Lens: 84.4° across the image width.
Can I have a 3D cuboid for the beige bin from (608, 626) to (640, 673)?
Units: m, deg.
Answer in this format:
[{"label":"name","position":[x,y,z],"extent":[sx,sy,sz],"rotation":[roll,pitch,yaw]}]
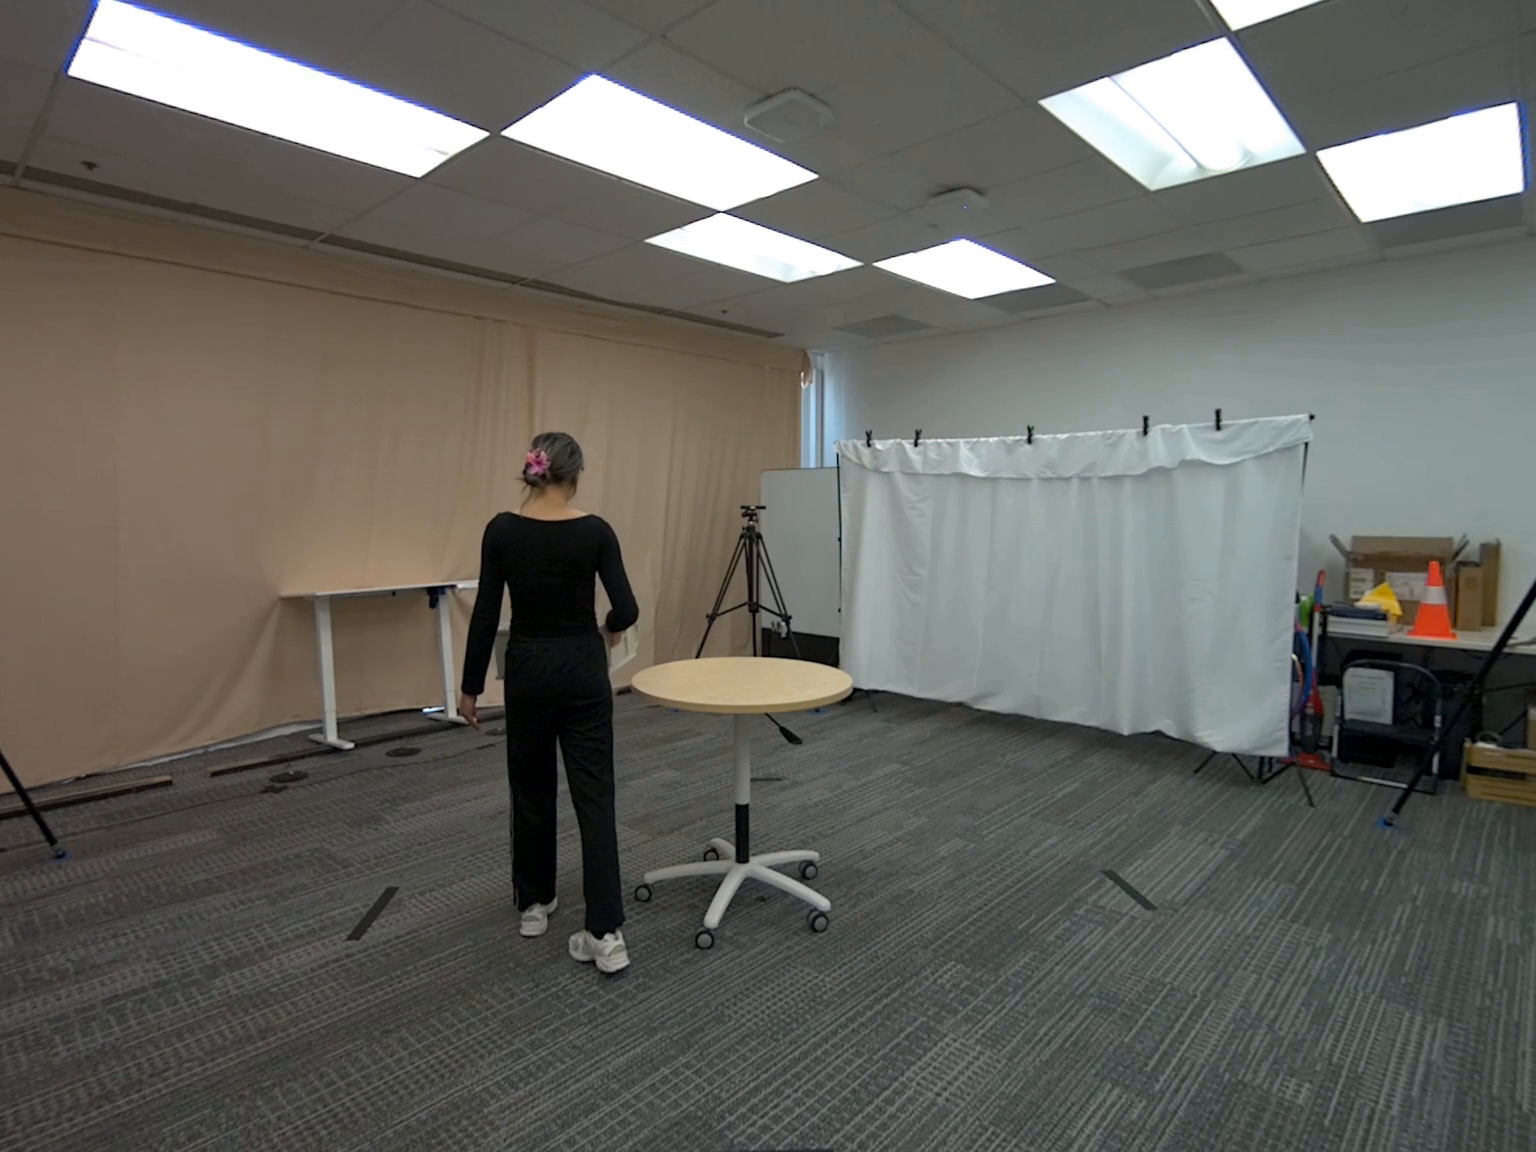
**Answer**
[{"label":"beige bin","position":[-0.718,0.234,3.025],"extent":[0.429,0.188,0.373],"rotation":[-2,9,15]}]
